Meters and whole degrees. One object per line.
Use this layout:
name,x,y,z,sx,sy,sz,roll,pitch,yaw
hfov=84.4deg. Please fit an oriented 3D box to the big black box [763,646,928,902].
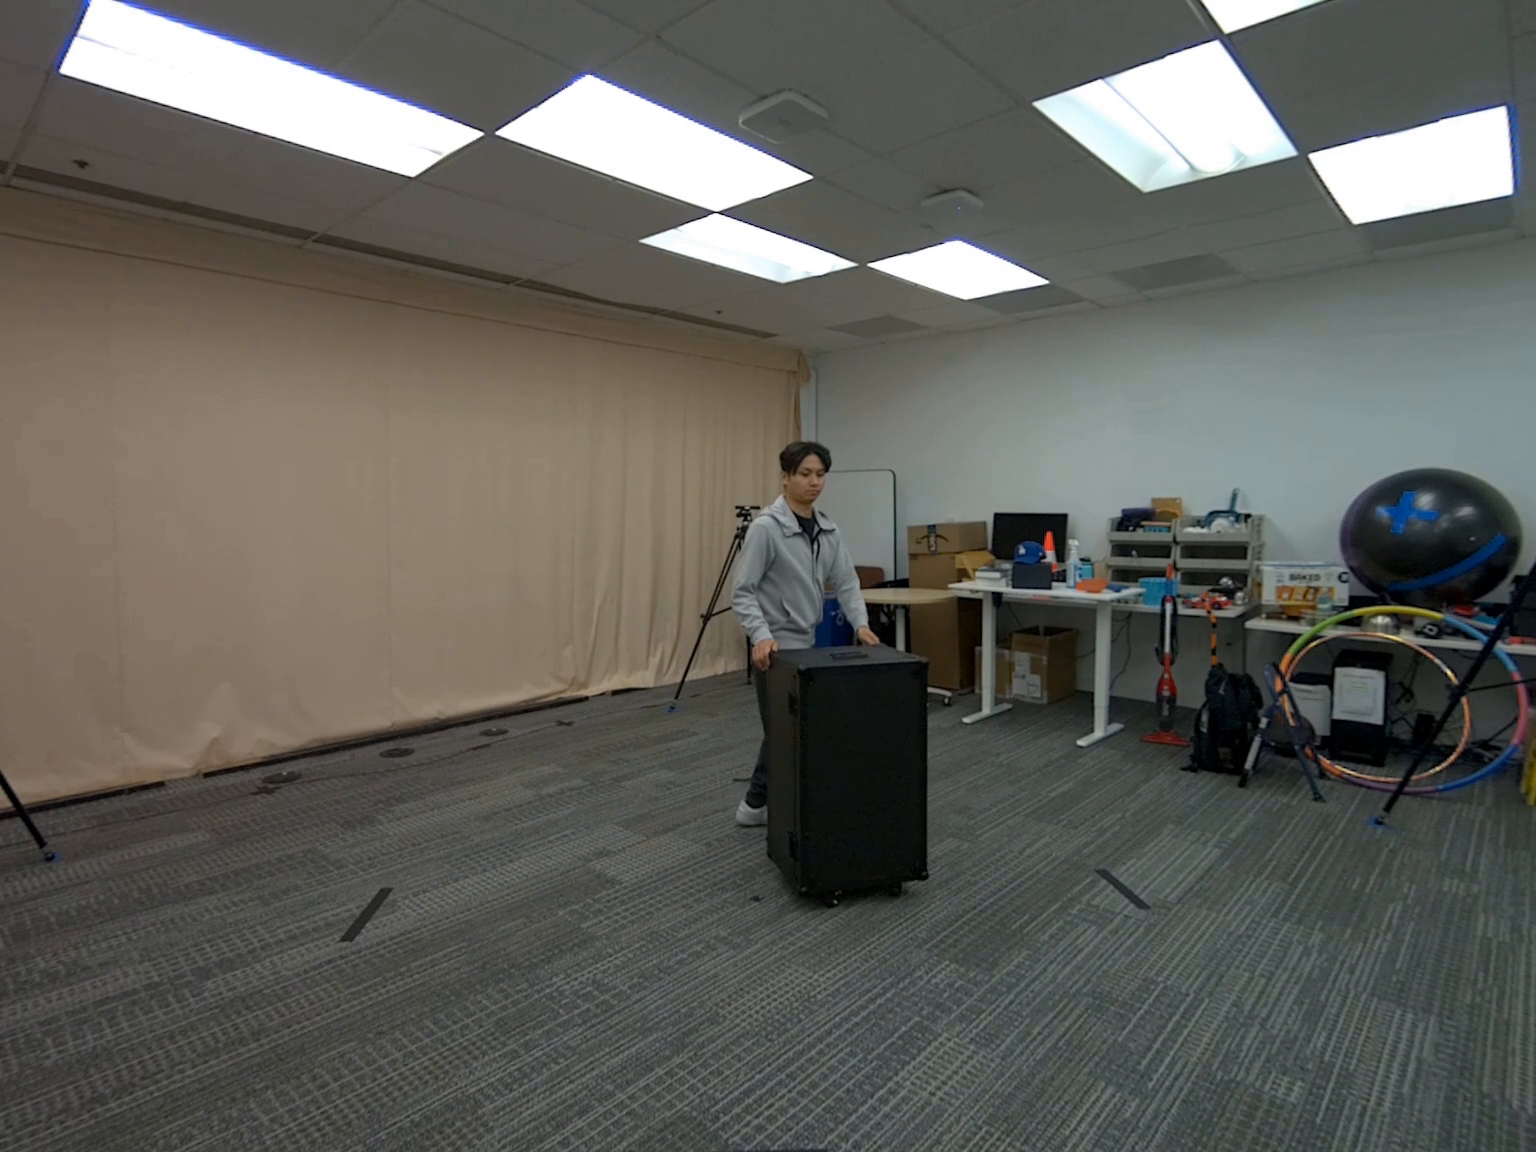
big black box,0.275,0.710,3.076,0.512,0.860,0.403,-2,2,-17
